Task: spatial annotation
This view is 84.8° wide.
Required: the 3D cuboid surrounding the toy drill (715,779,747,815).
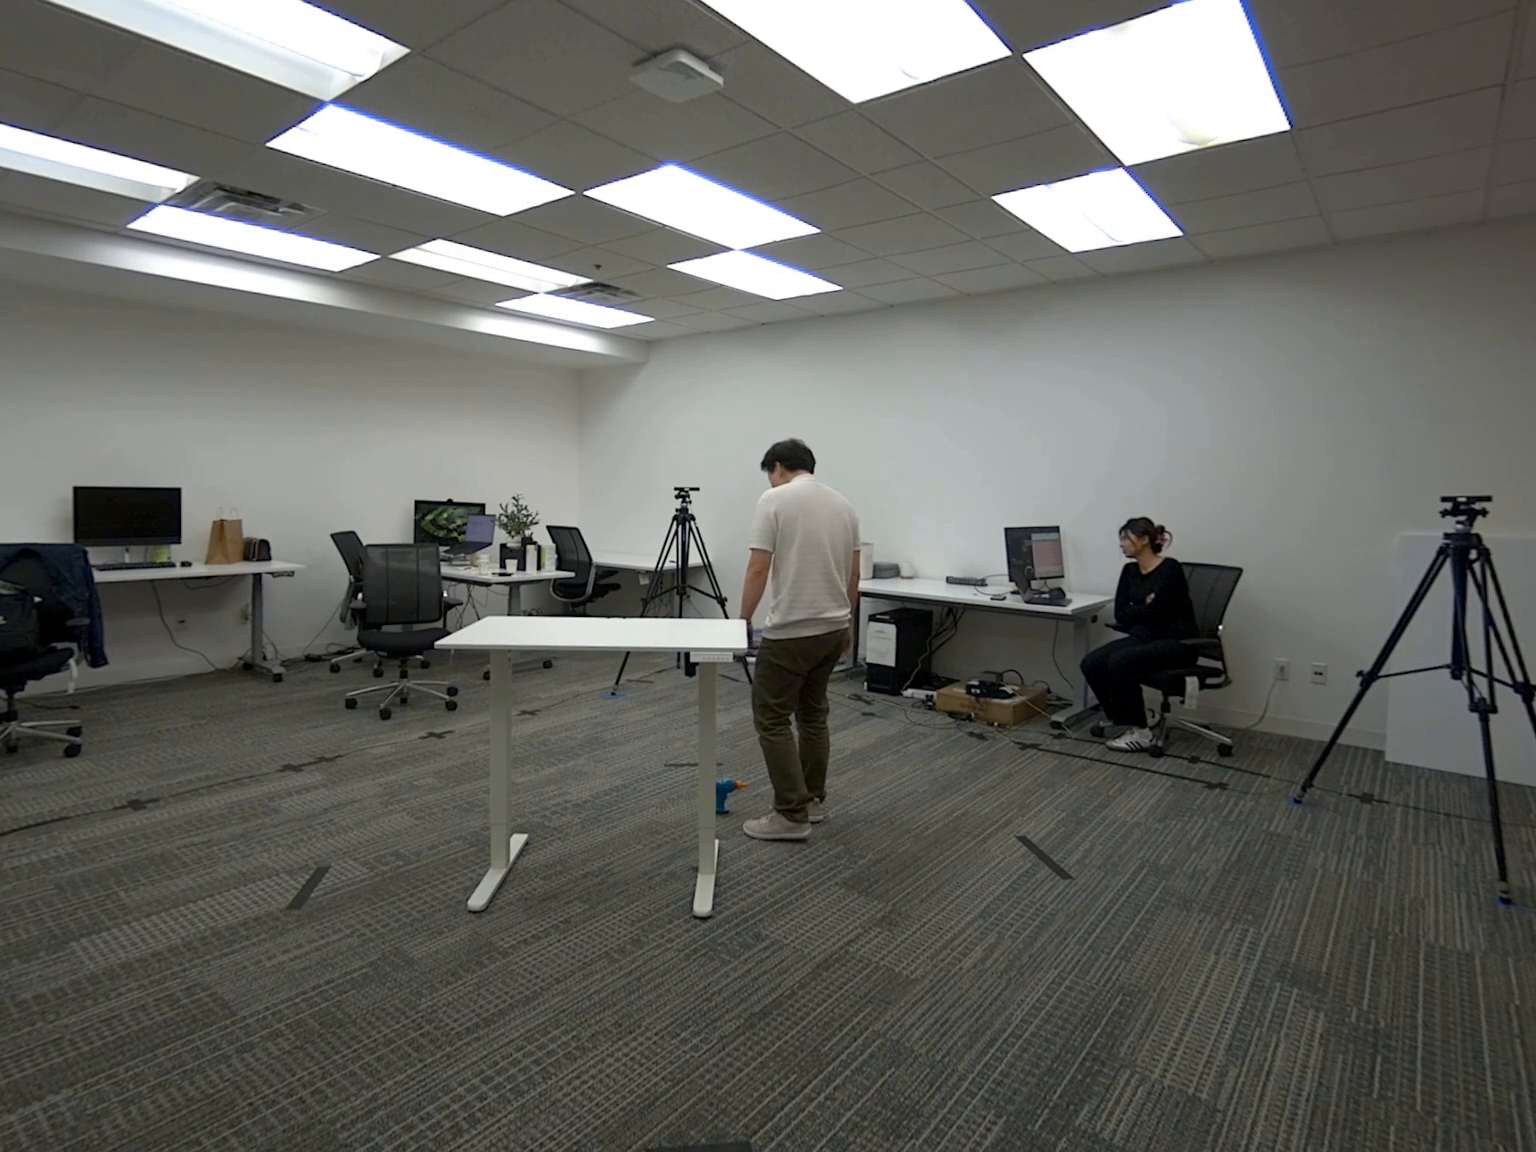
[{"bbox_3d":[-0.173,0.942,3.670,0.167,0.145,0.062,0,6,-13],"label":"toy drill"}]
